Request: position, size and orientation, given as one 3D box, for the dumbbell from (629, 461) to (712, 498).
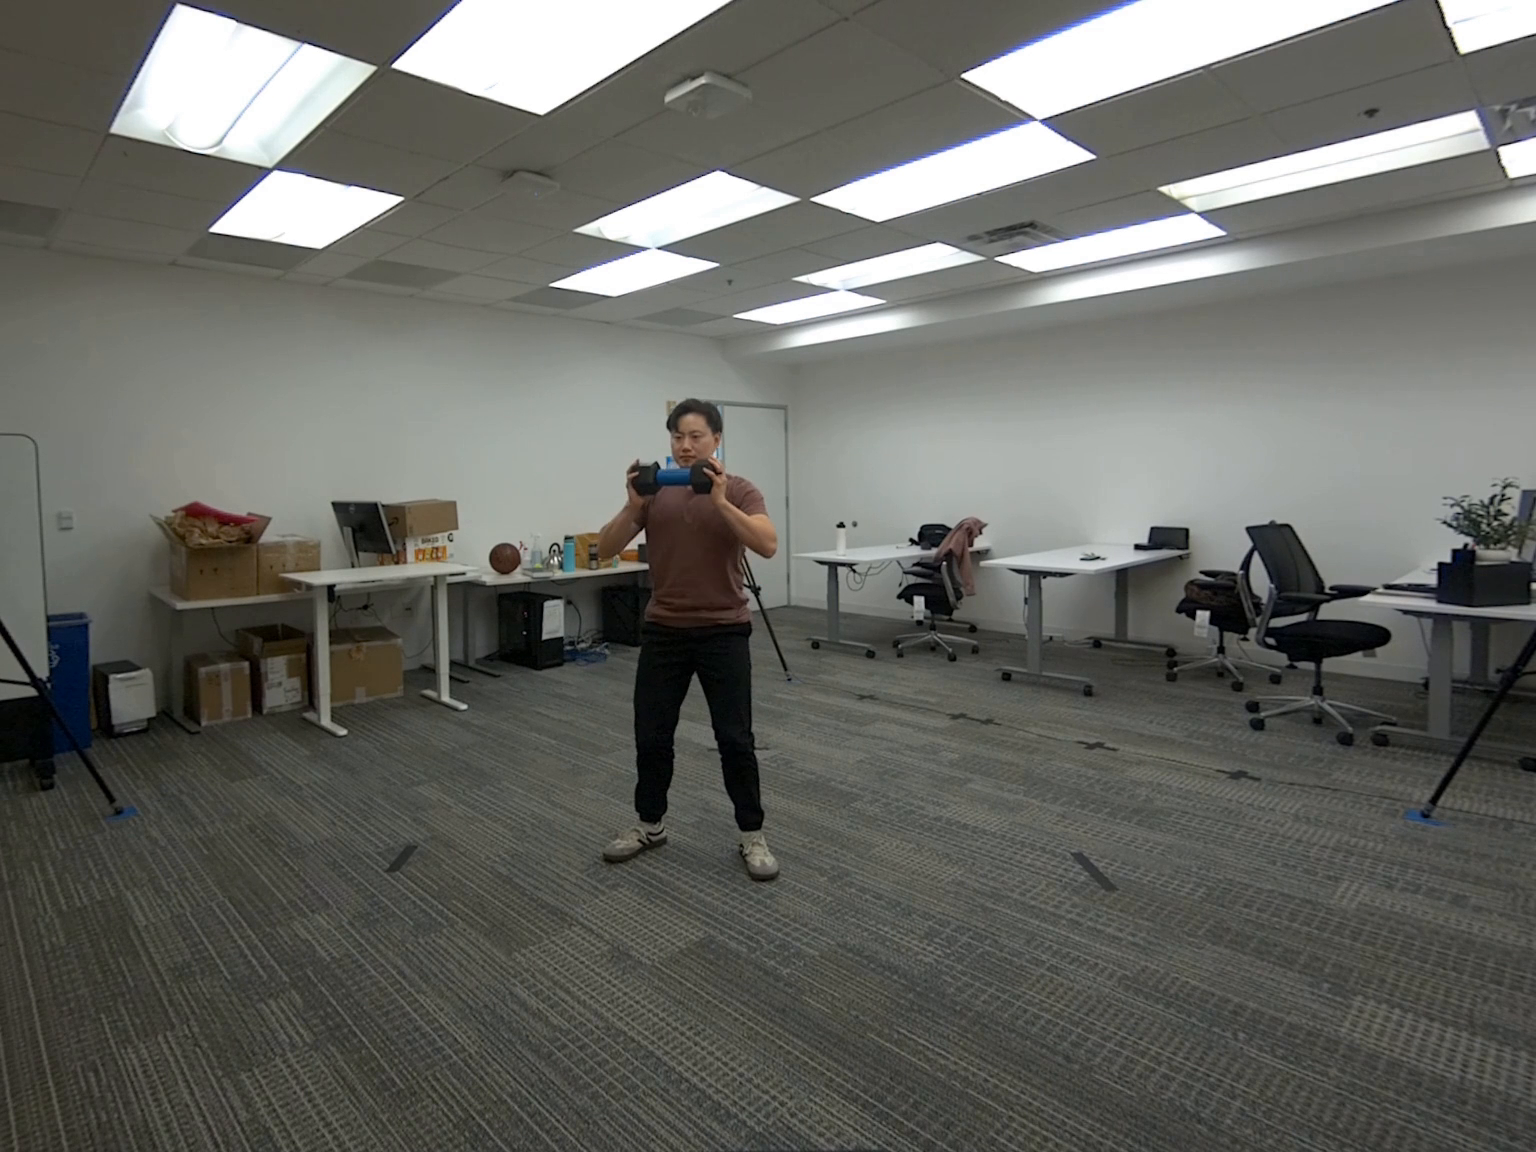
[{"bbox_3d":[-0.323,-0.321,2.938,0.298,0.106,0.124,1,23,14],"label":"dumbbell"}]
